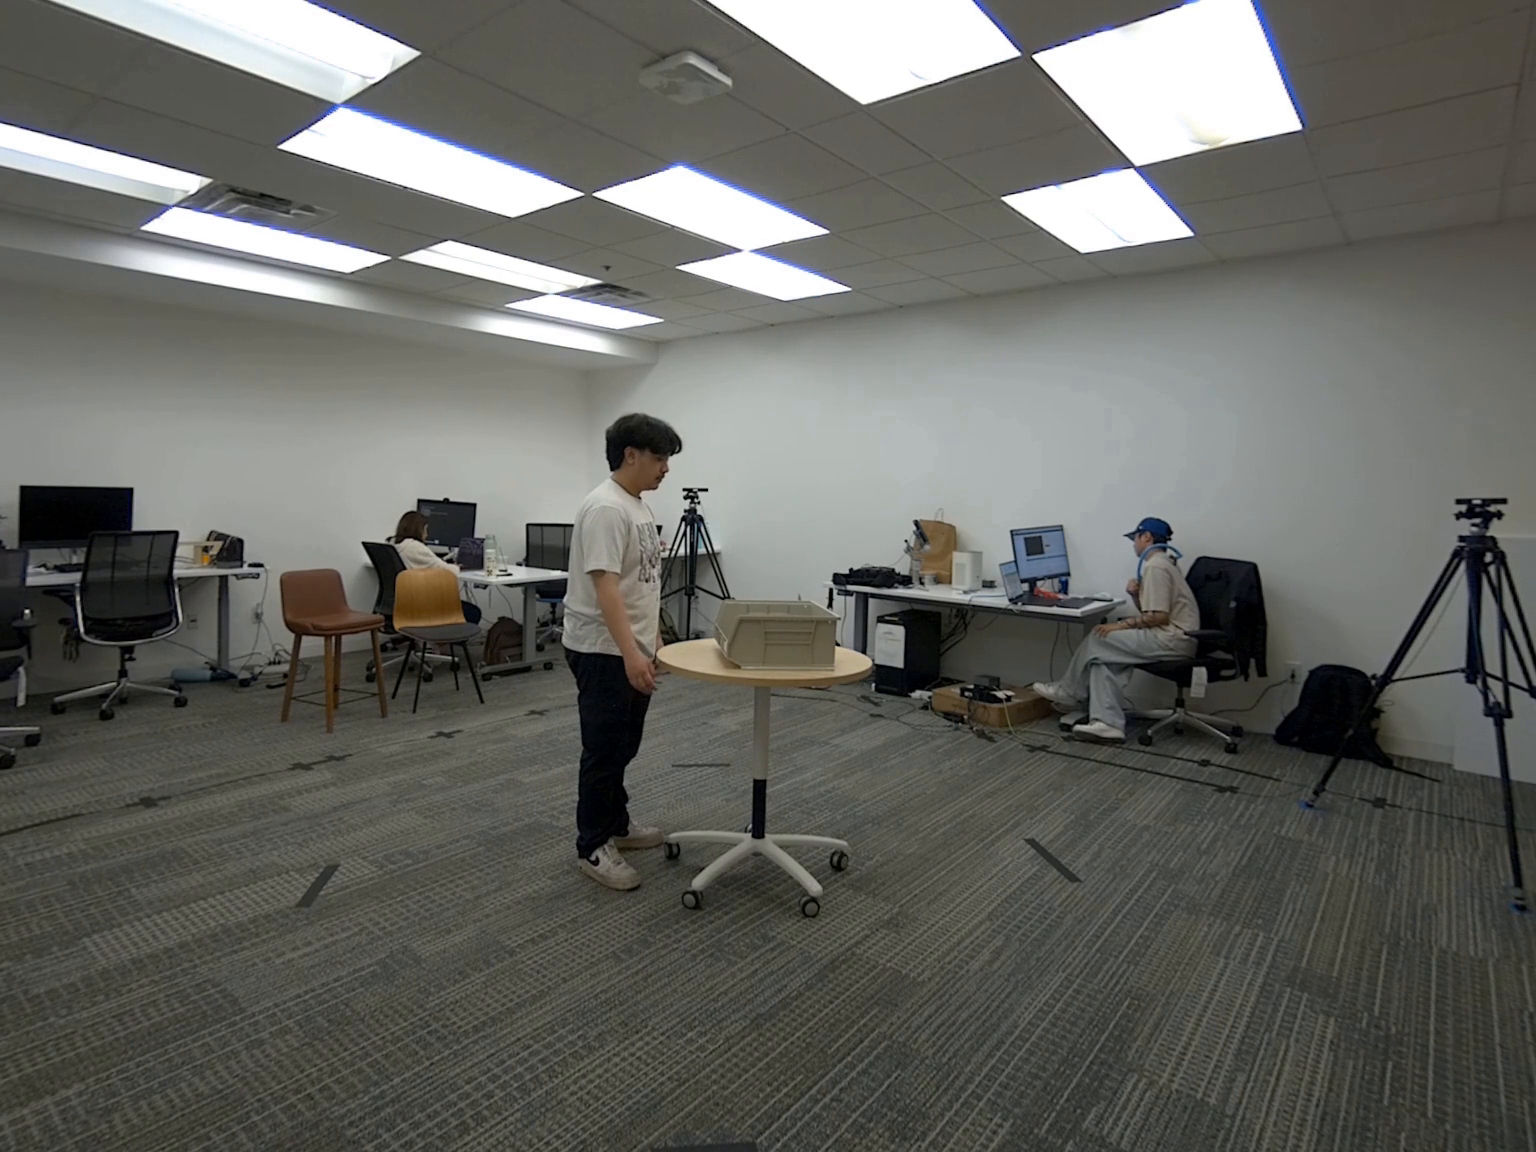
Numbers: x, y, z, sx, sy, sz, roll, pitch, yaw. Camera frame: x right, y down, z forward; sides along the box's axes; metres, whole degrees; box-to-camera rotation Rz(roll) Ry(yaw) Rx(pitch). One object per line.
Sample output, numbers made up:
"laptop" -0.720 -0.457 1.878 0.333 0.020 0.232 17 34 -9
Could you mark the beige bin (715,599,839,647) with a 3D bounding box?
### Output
"beige bin" -0.009 0.207 2.991 0.375 0.188 0.427 1 4 -8
